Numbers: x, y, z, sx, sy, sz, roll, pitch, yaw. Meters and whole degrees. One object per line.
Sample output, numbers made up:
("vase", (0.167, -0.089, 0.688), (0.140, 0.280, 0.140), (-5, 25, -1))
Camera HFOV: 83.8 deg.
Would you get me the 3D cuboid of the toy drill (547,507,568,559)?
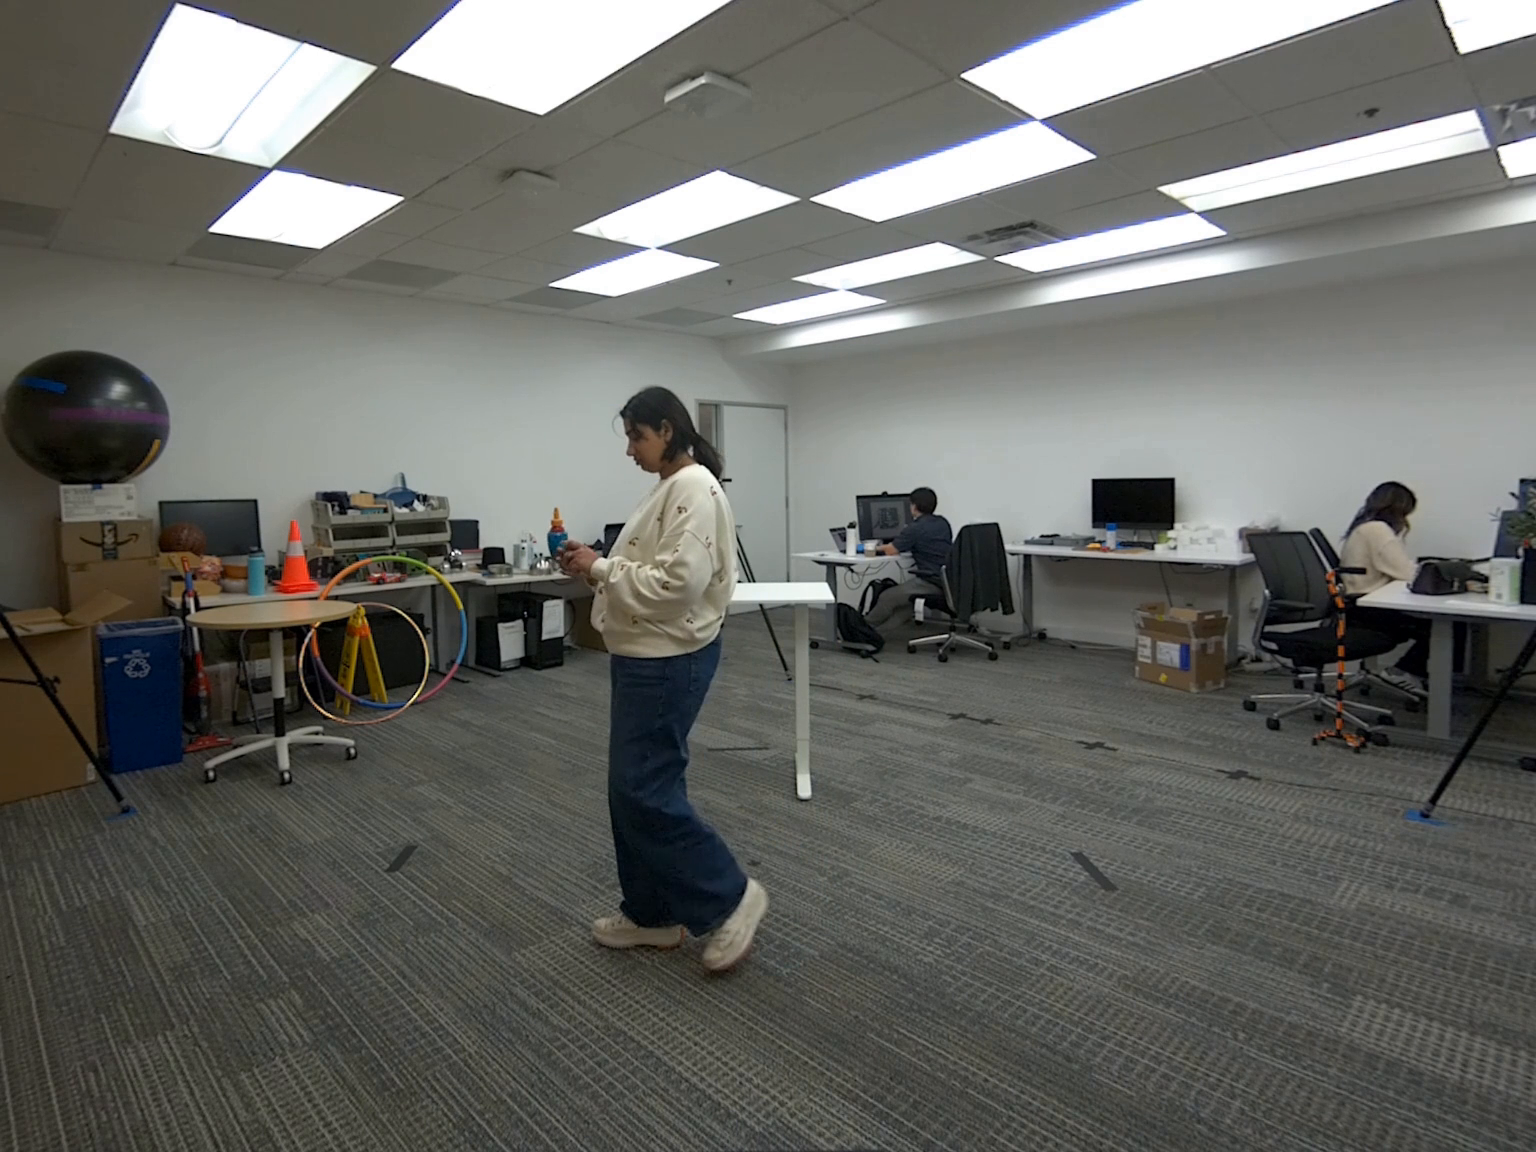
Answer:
("toy drill", (-0.581, -0.115, 2.478), (0.060, 0.168, 0.151), (-9, 15, -40))
